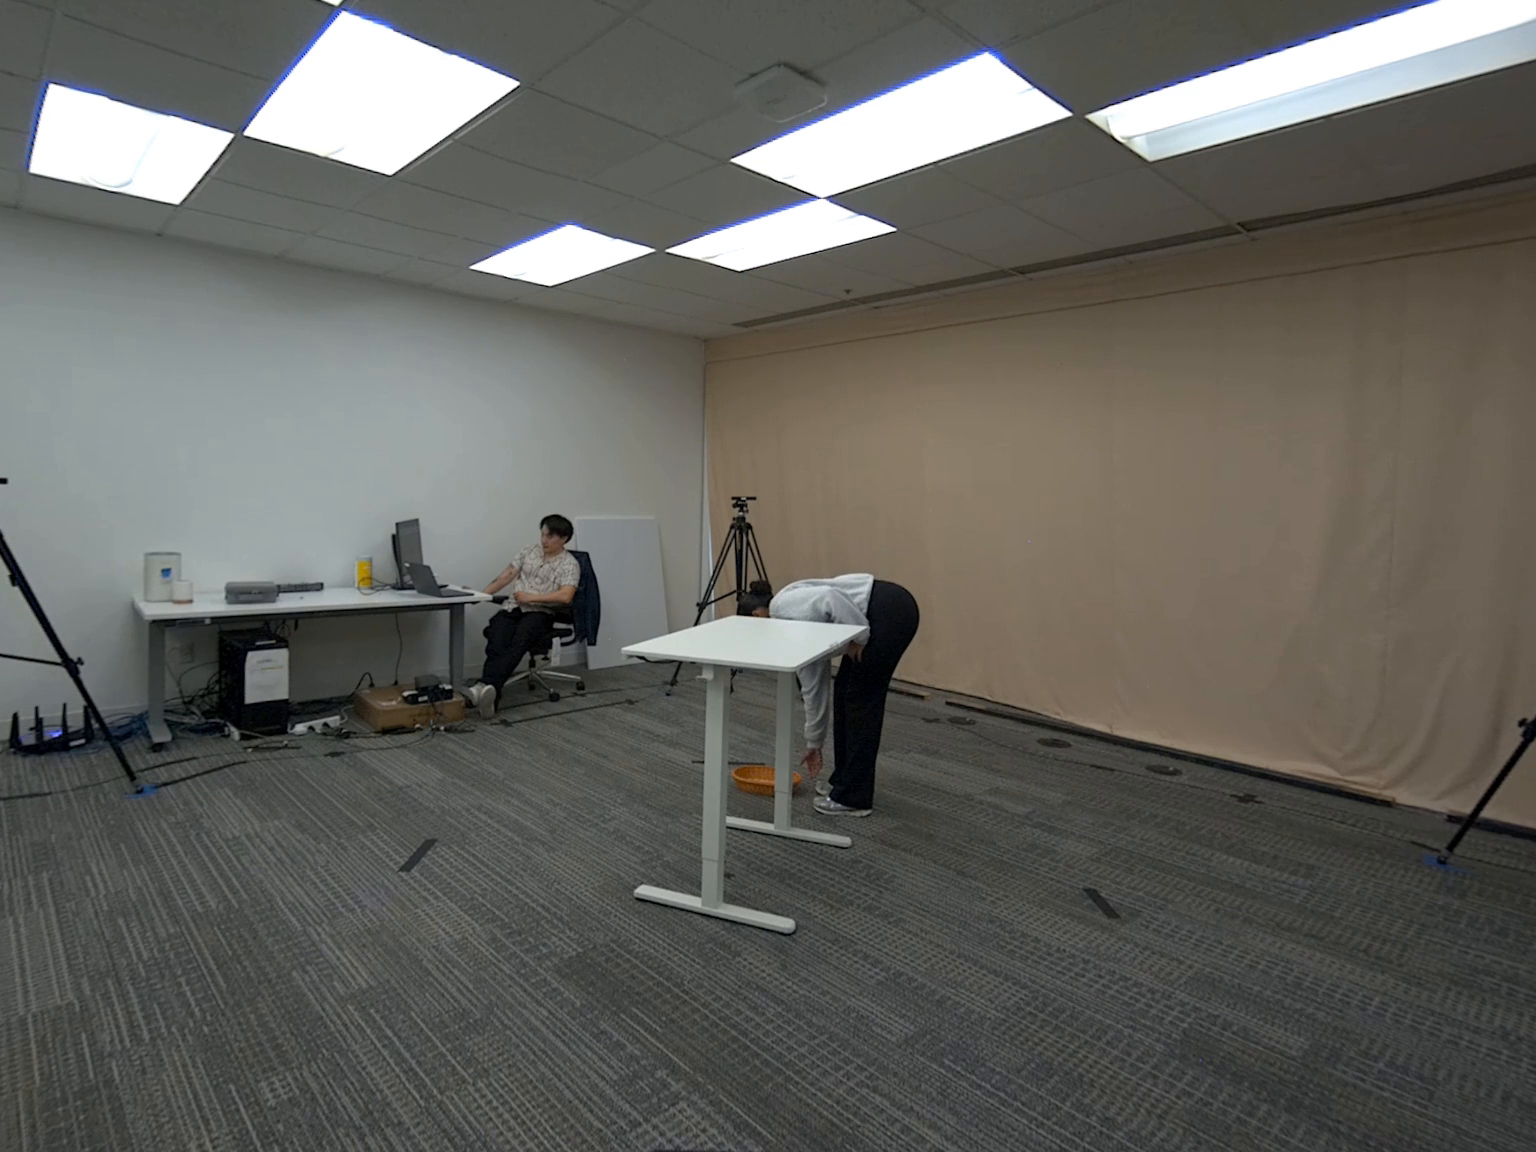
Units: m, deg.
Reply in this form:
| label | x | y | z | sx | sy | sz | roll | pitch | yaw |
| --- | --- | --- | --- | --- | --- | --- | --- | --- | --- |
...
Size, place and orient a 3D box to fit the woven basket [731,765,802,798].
| label | x | y | z | sx | sy | sz | roll | pitch | yaw |
| --- | --- | --- | --- | --- | --- | --- | --- | --- | --- |
| woven basket | -0.019 | 0.982 | 4.055 | 0.356 | 0.073 | 0.248 | 4 | 4 | 22 |
